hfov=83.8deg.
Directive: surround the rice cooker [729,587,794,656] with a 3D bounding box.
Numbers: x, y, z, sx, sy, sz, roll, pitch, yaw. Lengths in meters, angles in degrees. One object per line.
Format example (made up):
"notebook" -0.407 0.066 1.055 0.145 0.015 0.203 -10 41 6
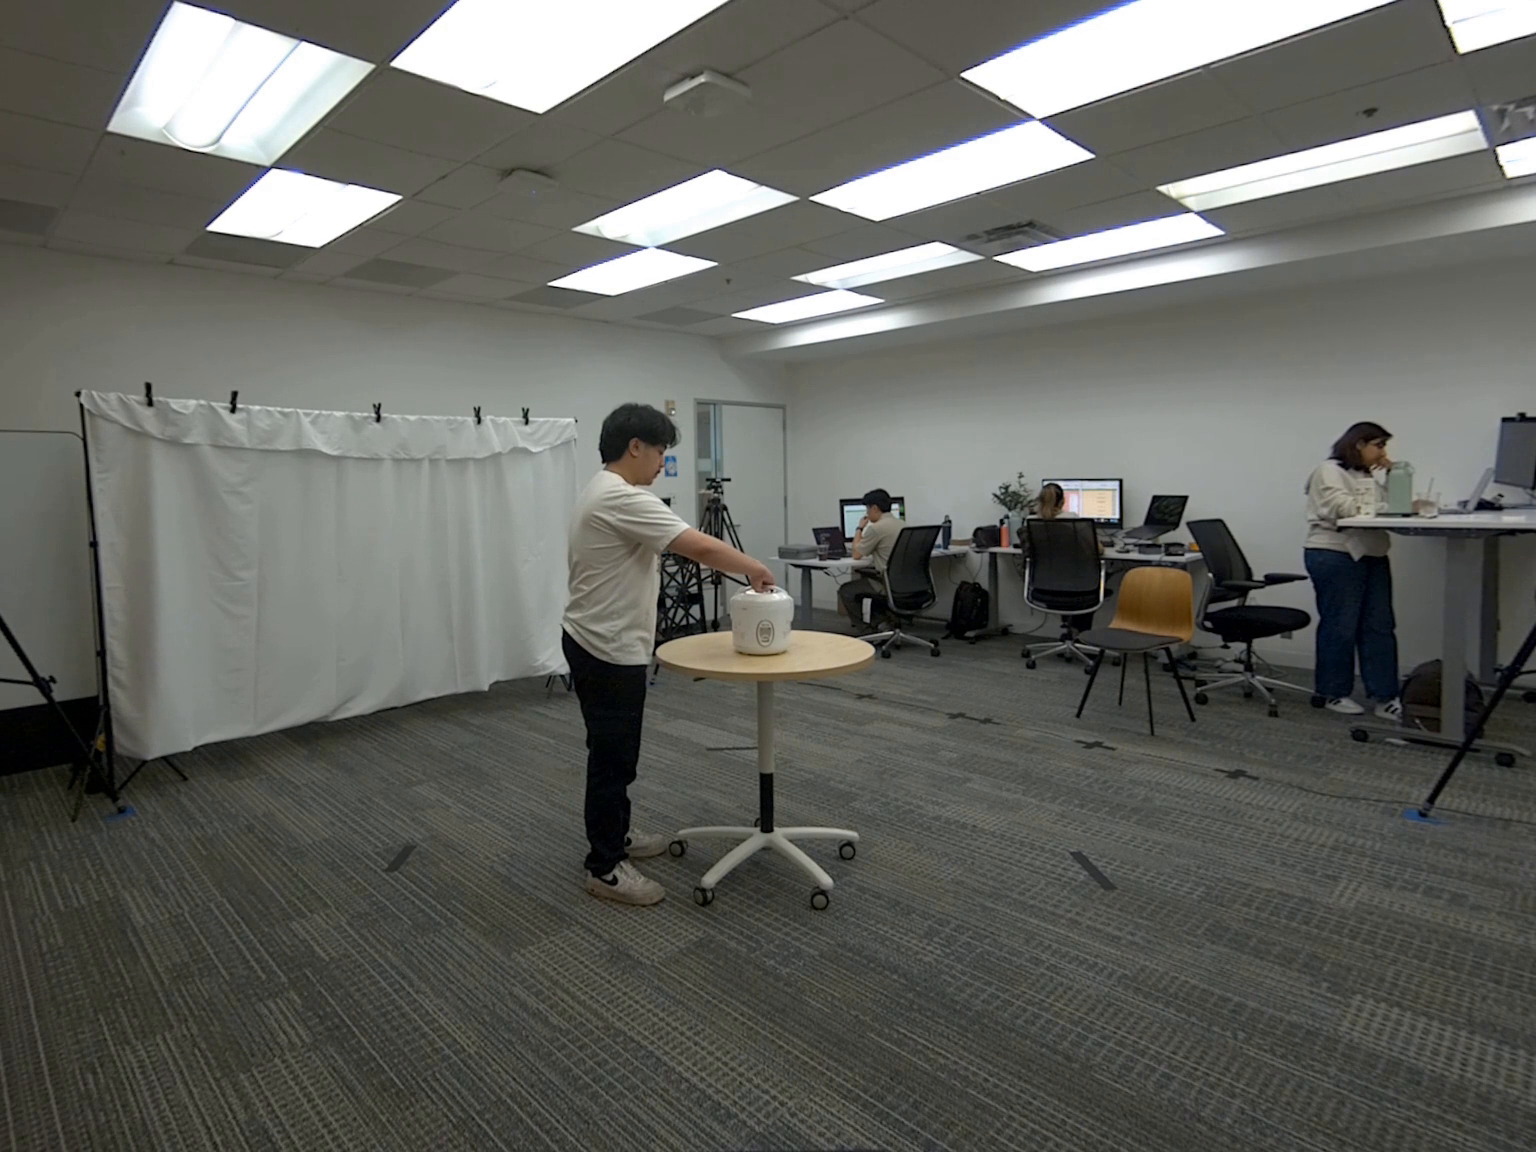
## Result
"rice cooker" -0.017 0.142 2.955 0.219 0.232 0.219 -2 5 -6
